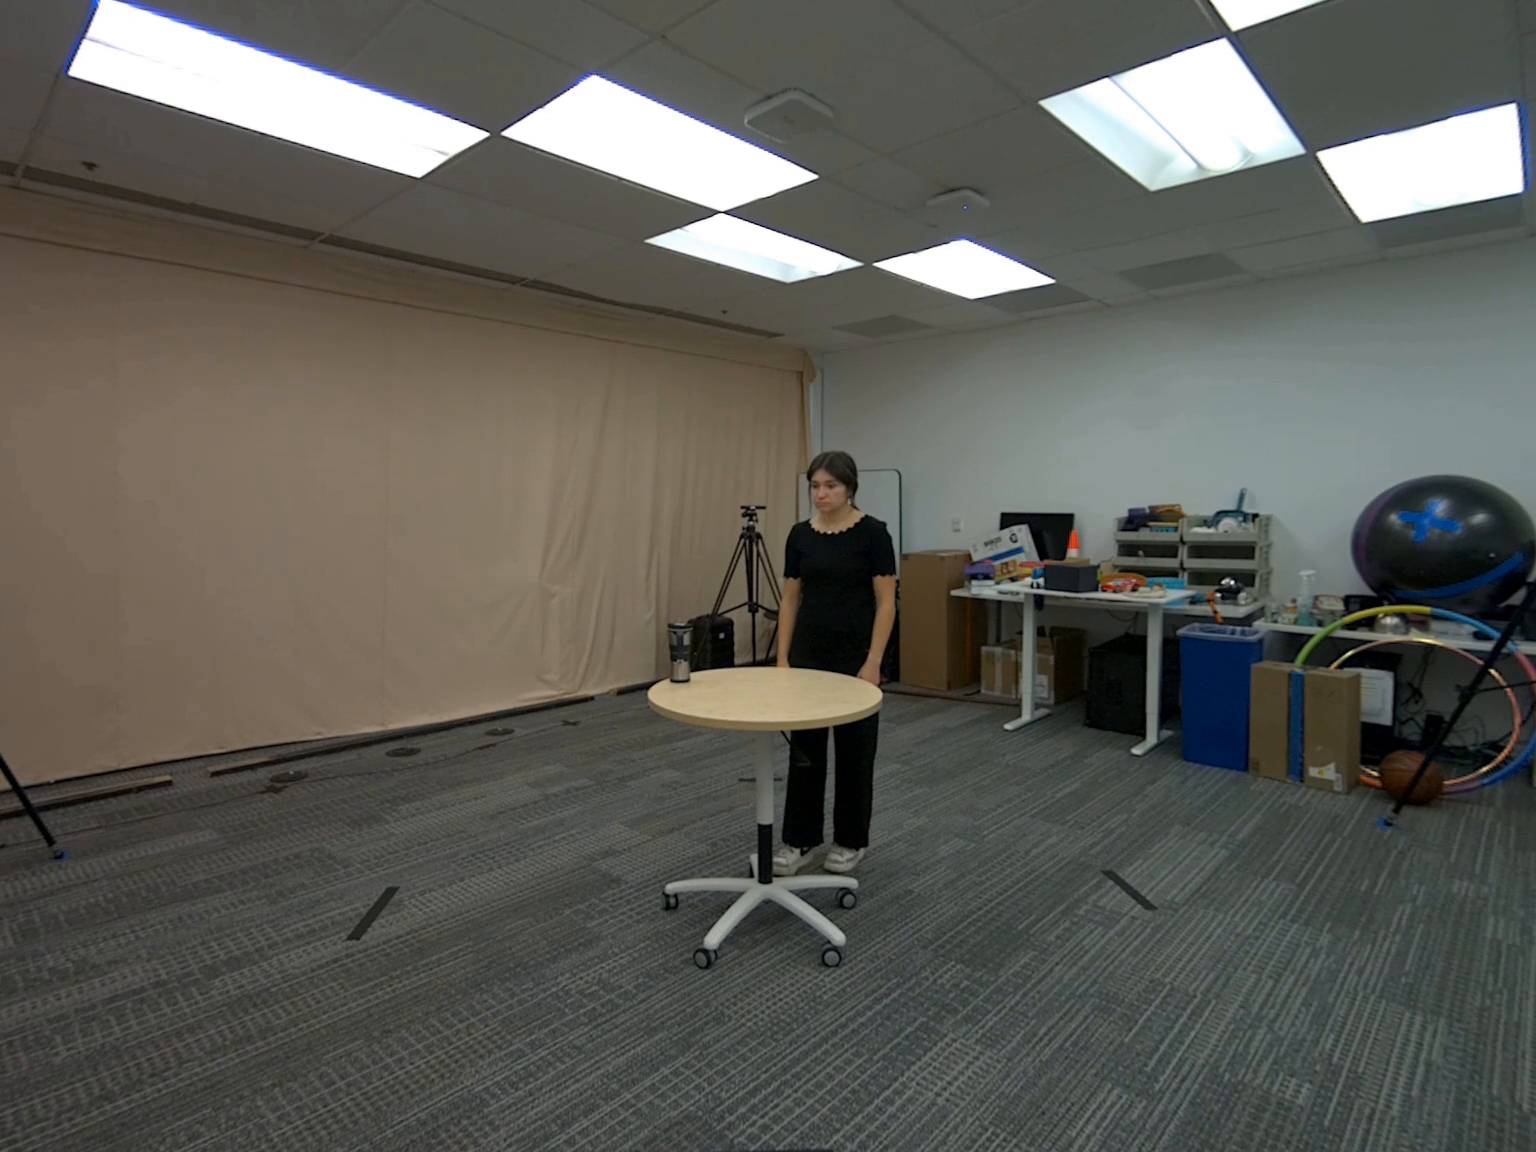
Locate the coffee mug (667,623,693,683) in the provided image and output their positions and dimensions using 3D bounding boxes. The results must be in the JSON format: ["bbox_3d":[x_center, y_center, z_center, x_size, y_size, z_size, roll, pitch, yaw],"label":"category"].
[{"bbox_3d":[-0.309,0.267,2.904,0.090,0.203,0.118,4,2,29],"label":"coffee mug"}]
